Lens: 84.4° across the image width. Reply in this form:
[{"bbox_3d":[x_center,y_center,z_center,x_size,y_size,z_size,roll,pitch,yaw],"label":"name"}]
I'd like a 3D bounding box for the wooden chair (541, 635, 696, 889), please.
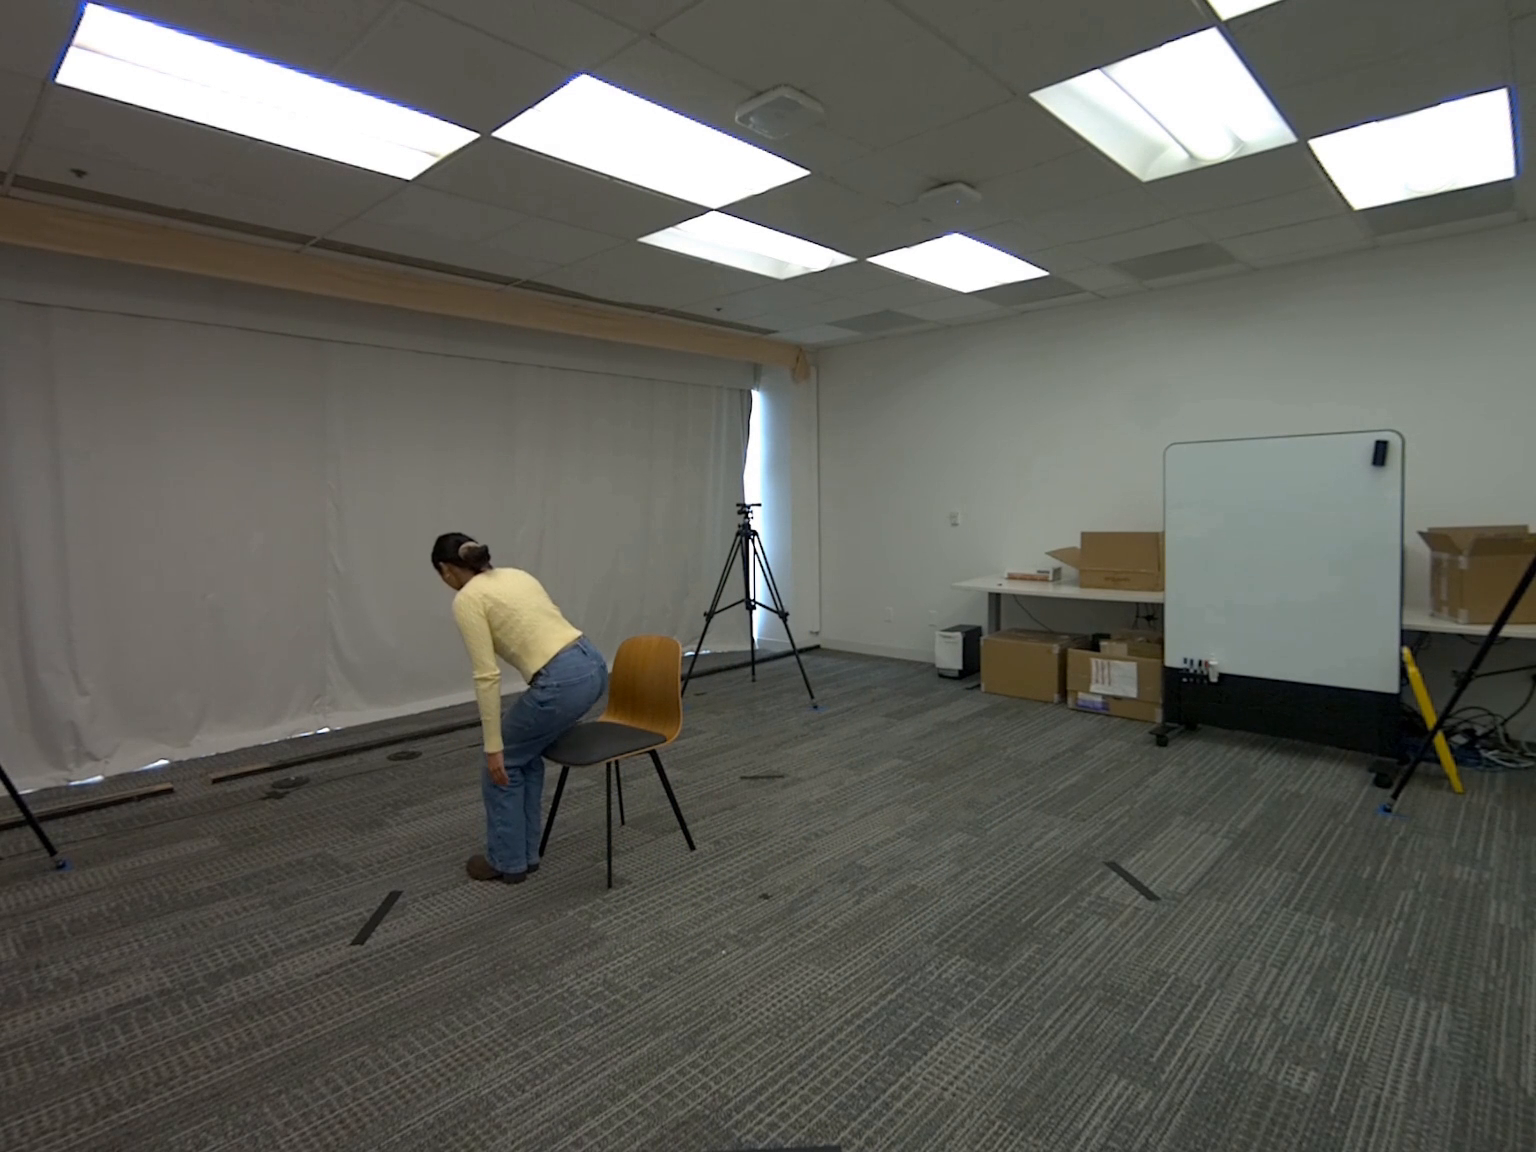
[{"bbox_3d":[-0.617,0.692,3.347,0.494,0.877,0.506,2,1,41],"label":"wooden chair"}]
